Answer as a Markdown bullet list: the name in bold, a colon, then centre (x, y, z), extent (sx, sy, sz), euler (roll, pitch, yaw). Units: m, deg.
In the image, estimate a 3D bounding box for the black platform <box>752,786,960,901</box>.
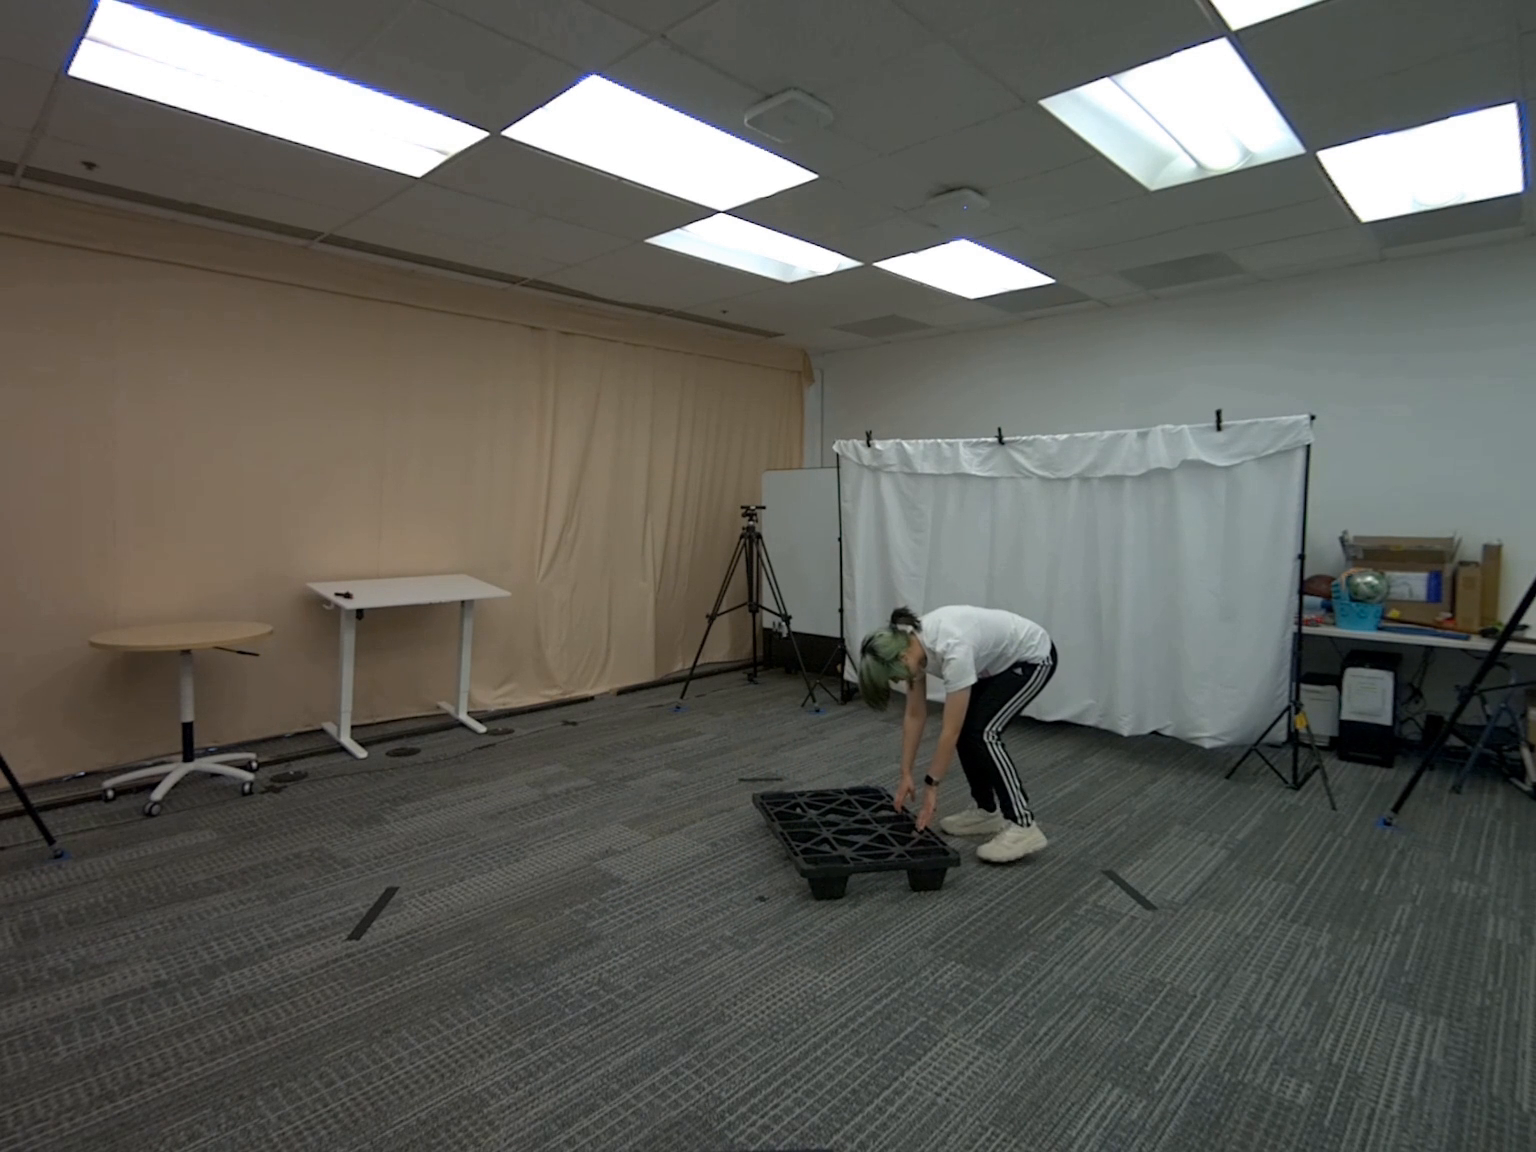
- **black platform**: centre (0.313, 1.042, 3.354), extent (0.597, 0.143, 0.818), euler (0, 4, -13)
